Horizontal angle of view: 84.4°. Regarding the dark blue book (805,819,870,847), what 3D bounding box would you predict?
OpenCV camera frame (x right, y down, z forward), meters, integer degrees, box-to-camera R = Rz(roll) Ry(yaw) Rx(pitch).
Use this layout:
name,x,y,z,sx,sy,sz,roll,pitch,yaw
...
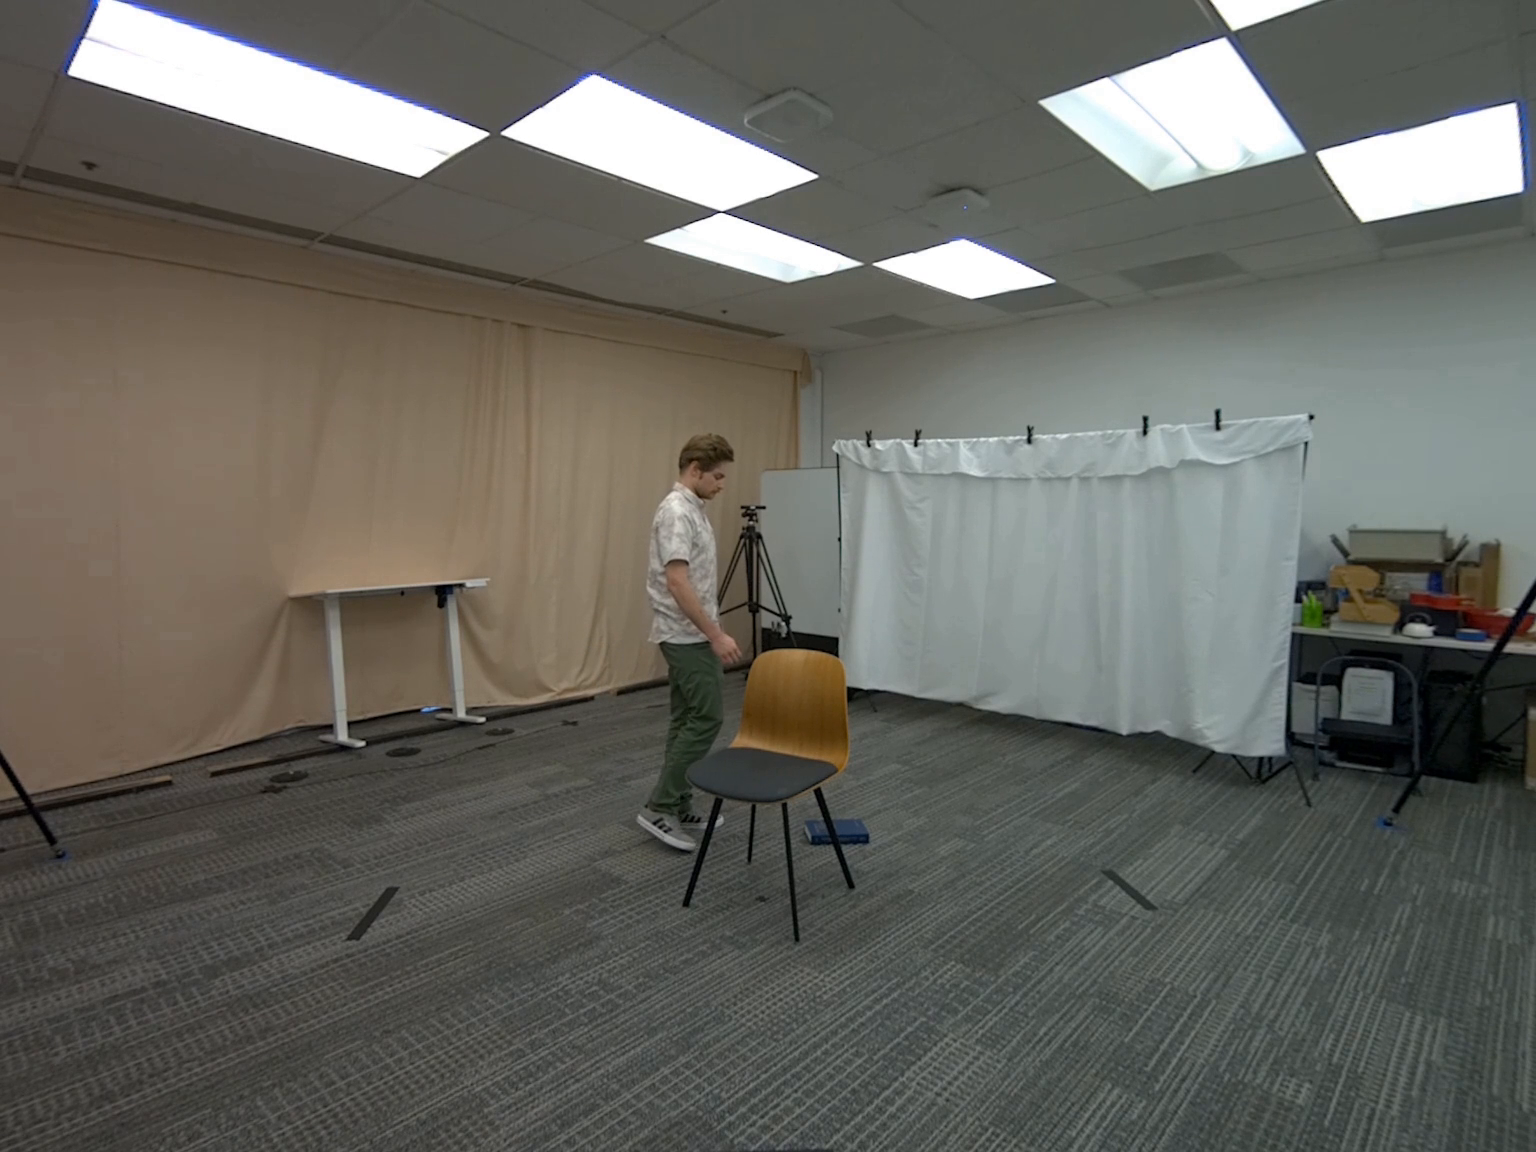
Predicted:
name,x,y,z,sx,sy,sz,roll,pitch,yaw
dark blue book,0.290,1.074,3.537,0.244,0.045,0.165,-1,4,-6
